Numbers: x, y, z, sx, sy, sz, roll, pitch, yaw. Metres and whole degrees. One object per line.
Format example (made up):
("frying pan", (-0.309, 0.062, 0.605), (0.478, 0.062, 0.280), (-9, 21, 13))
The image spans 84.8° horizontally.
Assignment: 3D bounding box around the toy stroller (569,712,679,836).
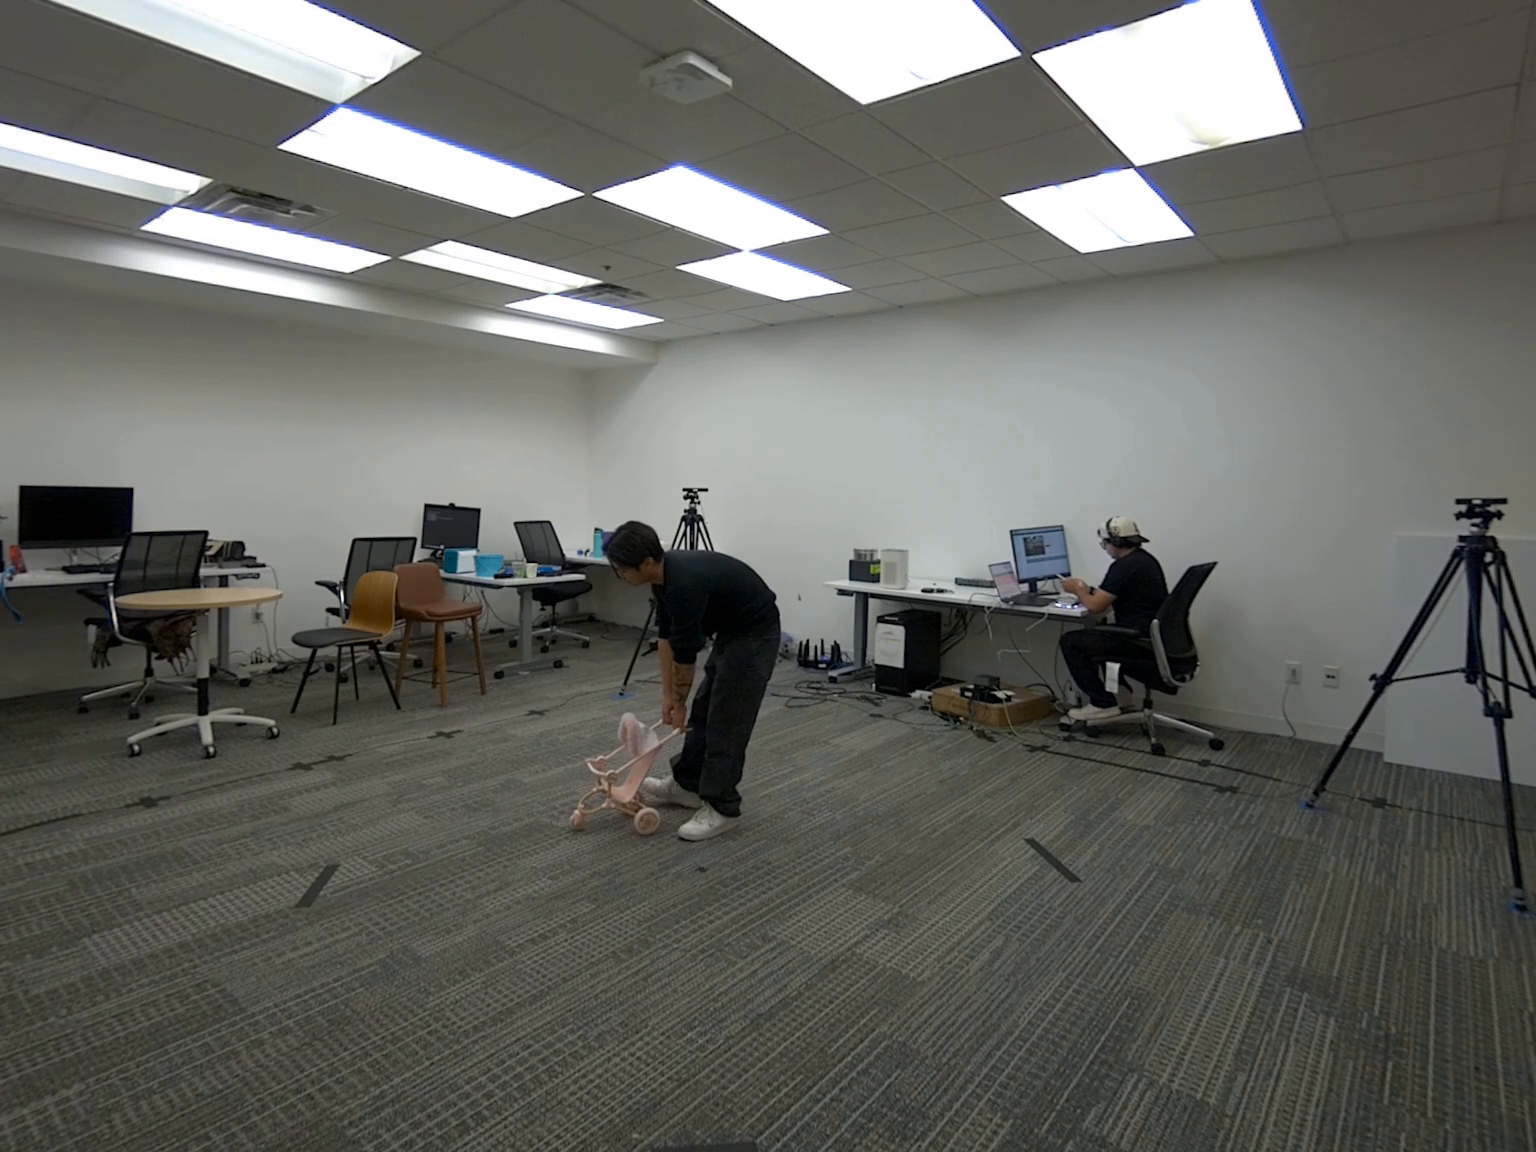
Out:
("toy stroller", (-0.607, 0.799, 3.502), (0.334, 0.536, 0.287), (17, -2, -18))
